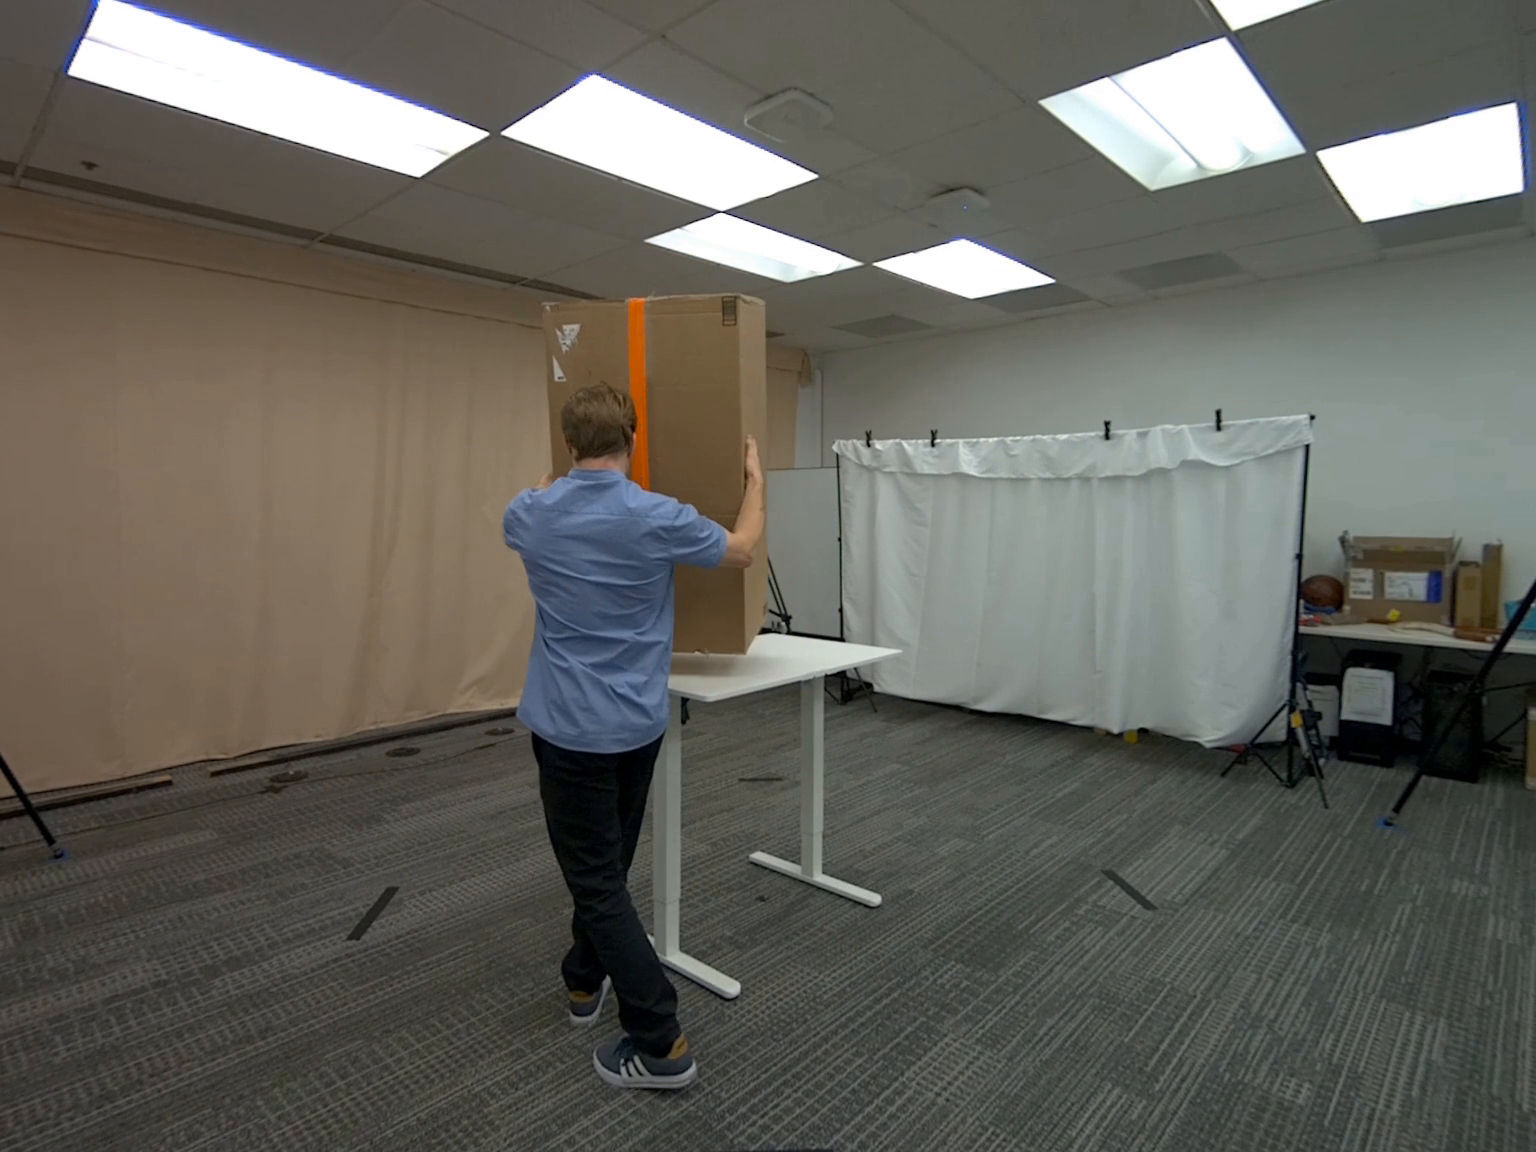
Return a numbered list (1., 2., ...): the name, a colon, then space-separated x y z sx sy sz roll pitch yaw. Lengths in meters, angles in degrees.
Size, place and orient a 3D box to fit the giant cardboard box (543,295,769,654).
1. giant cardboard box: -0.315 -0.315 2.608 0.586 1.017 0.424 2 13 12
